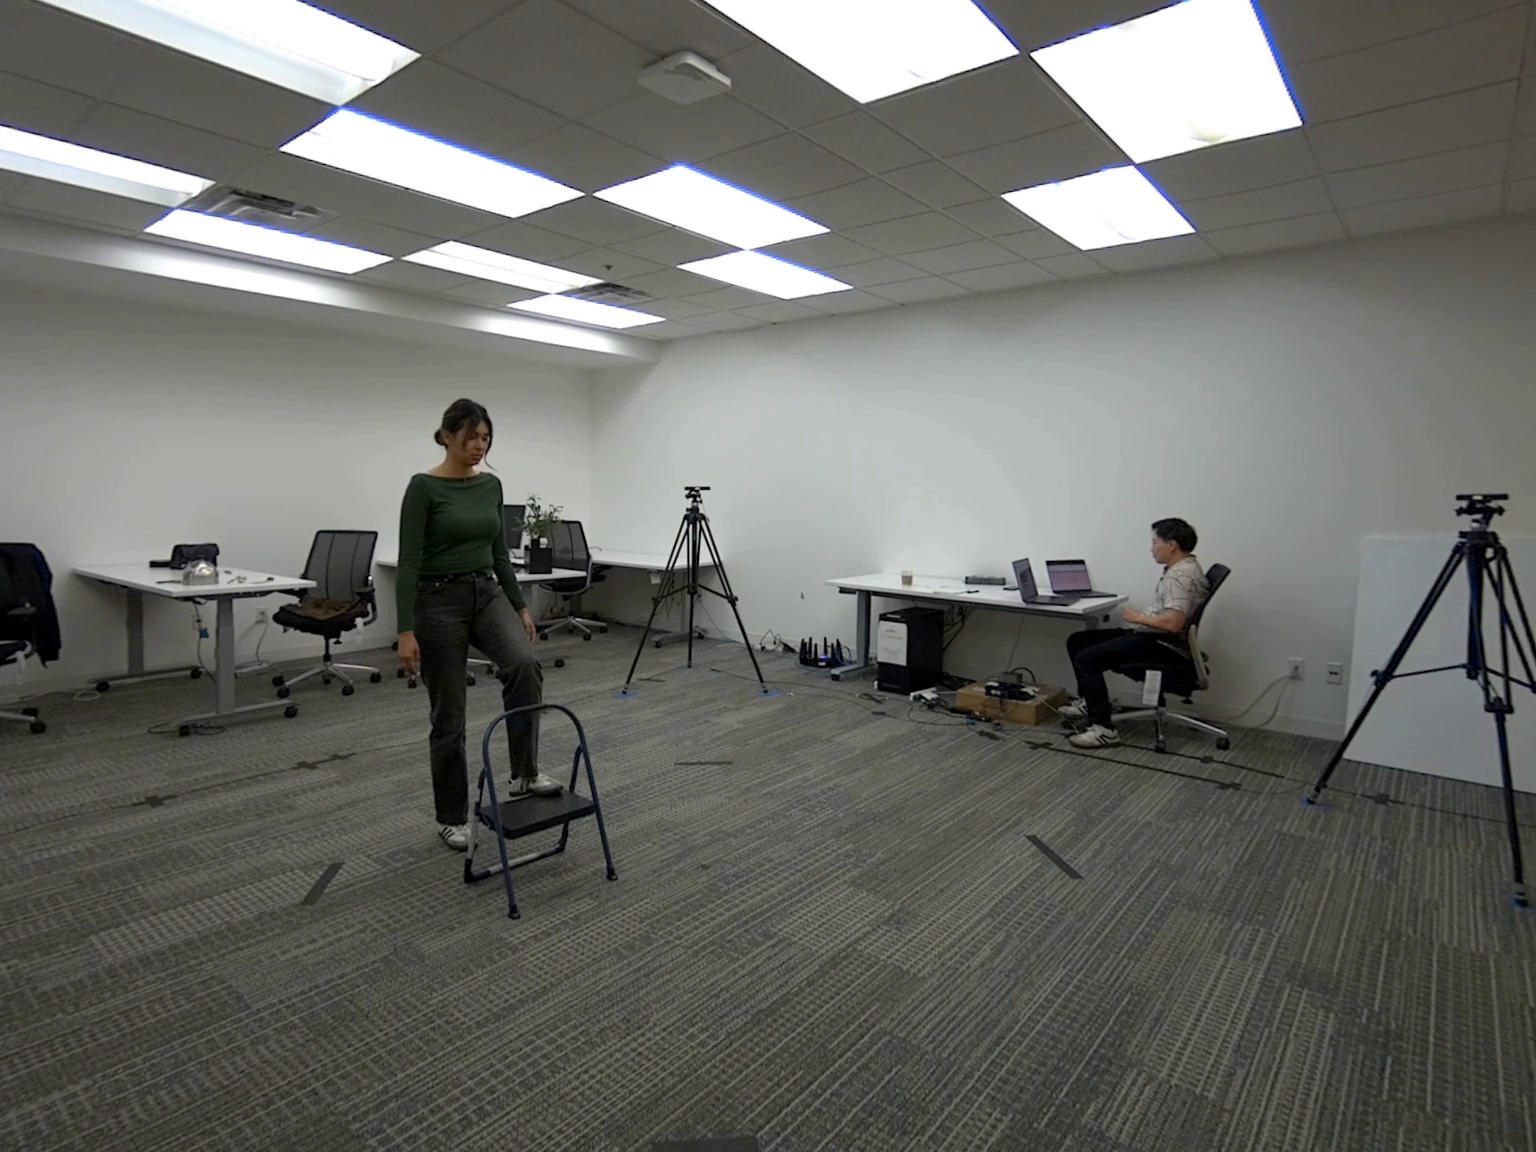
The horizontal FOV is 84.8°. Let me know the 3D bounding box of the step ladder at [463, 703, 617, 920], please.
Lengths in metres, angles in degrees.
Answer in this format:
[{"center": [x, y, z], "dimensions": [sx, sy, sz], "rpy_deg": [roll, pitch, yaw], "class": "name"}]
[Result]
[{"center": [-0.805, 0.768, 2.973], "dimensions": [0.361, 0.604, 0.417], "rpy_deg": [3, 4, 43], "class": "step ladder"}]
